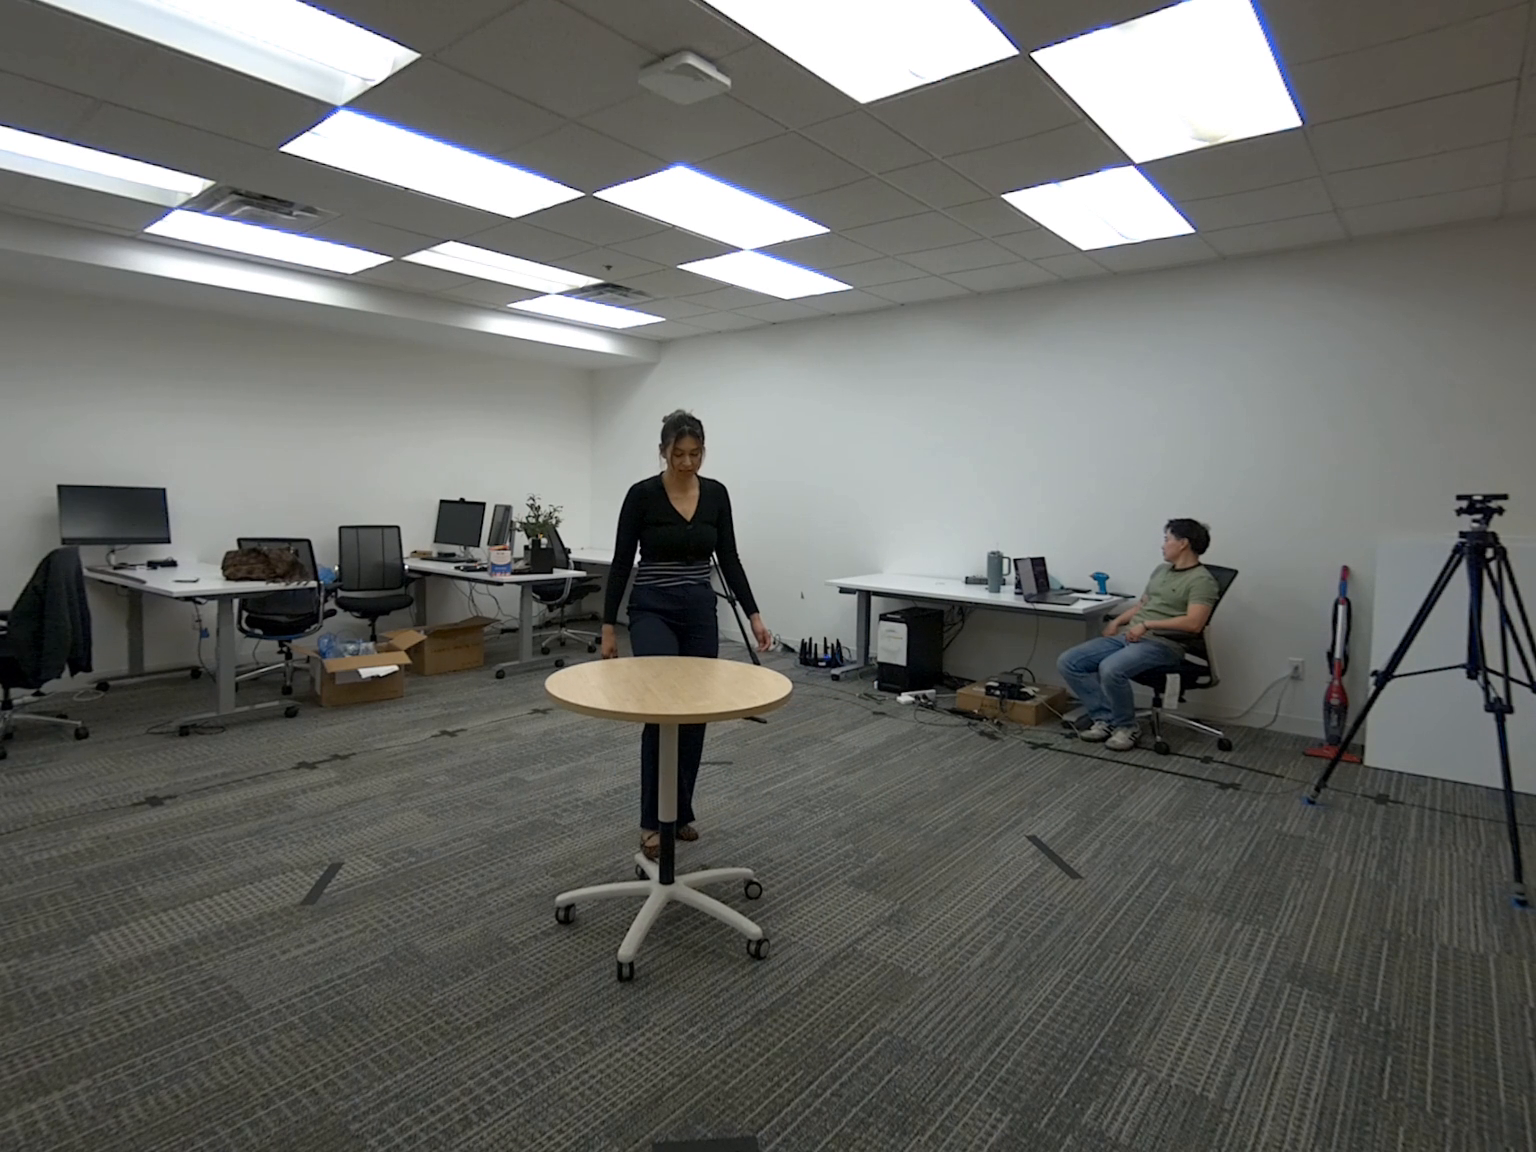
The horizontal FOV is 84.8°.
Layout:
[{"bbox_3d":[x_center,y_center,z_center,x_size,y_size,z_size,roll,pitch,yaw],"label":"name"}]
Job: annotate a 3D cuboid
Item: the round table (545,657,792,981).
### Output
[{"bbox_3d":[-0.324,0.716,2.682,0.763,0.791,0.768,1,5,-2],"label":"round table"}]
